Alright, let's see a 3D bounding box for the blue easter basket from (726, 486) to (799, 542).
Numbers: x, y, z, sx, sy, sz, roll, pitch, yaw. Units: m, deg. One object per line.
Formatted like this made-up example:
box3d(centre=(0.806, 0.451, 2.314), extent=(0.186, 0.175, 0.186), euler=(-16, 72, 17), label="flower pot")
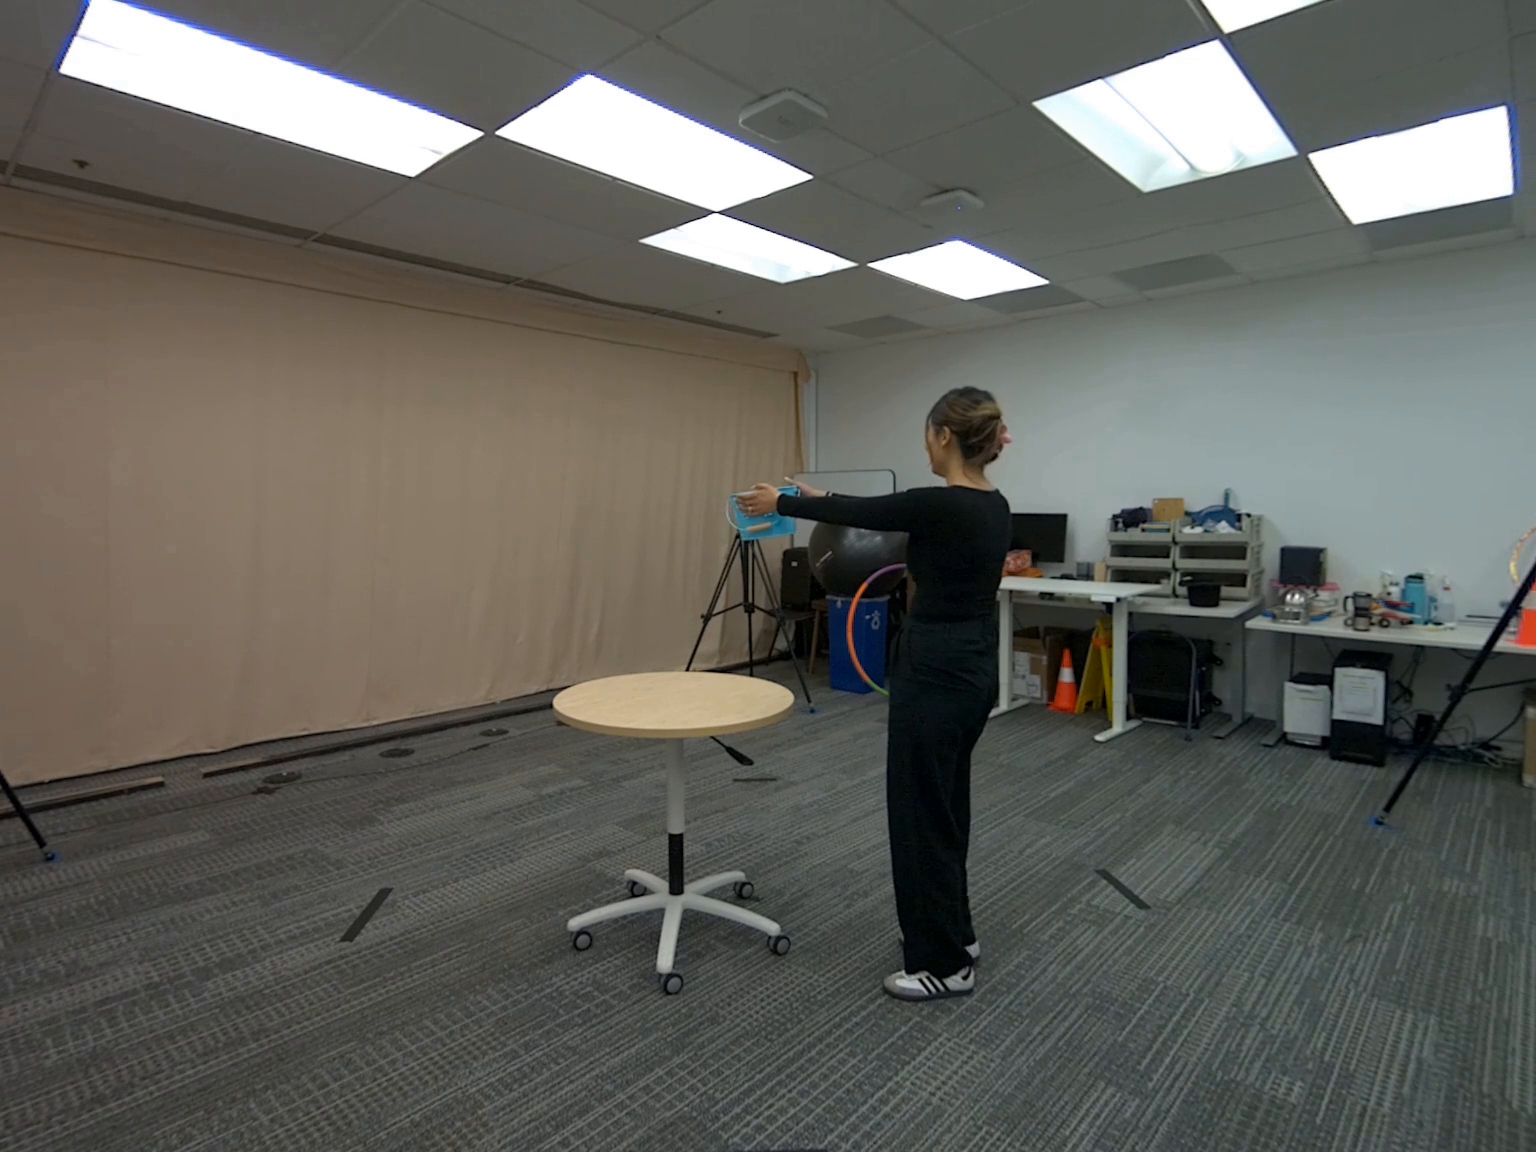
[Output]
box3d(centre=(-0.010, -0.203, 2.755), extent=(0.243, 0.155, 0.244), euler=(-5, 5, -2), label="blue easter basket")
